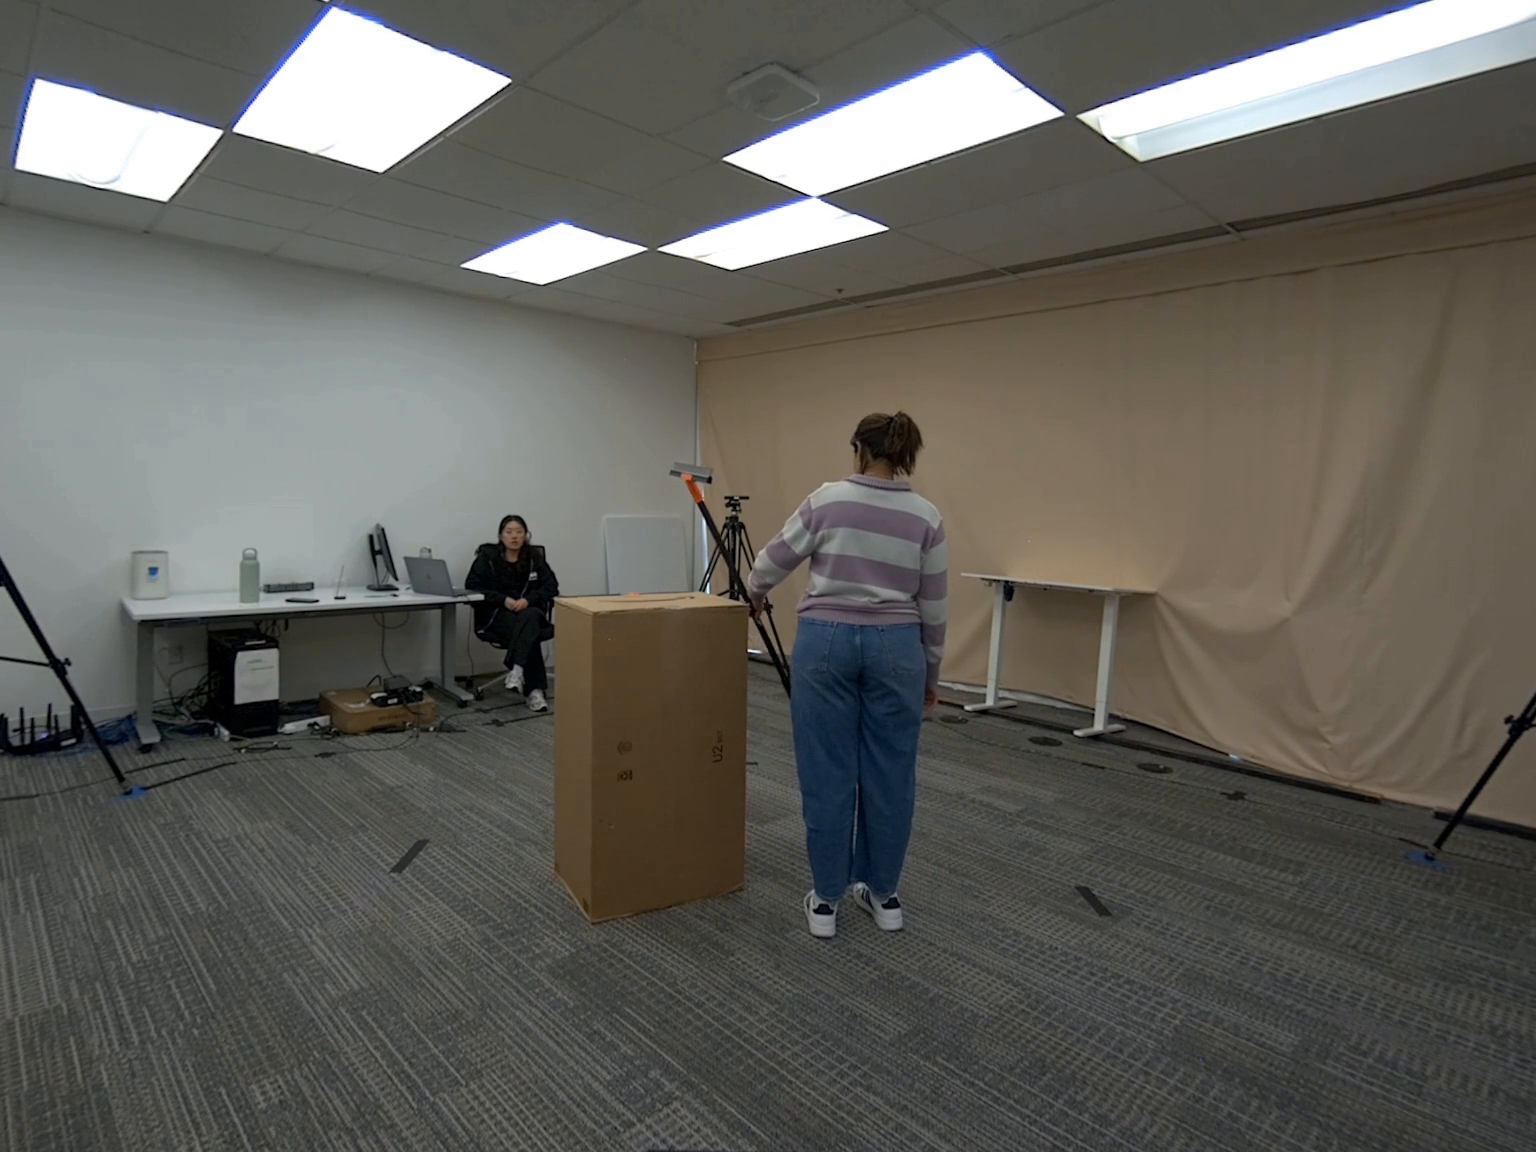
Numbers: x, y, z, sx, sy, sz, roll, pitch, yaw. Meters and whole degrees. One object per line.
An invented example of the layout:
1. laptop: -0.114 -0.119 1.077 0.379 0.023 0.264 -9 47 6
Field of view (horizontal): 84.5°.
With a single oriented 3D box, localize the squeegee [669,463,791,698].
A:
1. squeegee: 0.014 0.283 3.167 0.052 1.513 0.447 -28 17 -16
